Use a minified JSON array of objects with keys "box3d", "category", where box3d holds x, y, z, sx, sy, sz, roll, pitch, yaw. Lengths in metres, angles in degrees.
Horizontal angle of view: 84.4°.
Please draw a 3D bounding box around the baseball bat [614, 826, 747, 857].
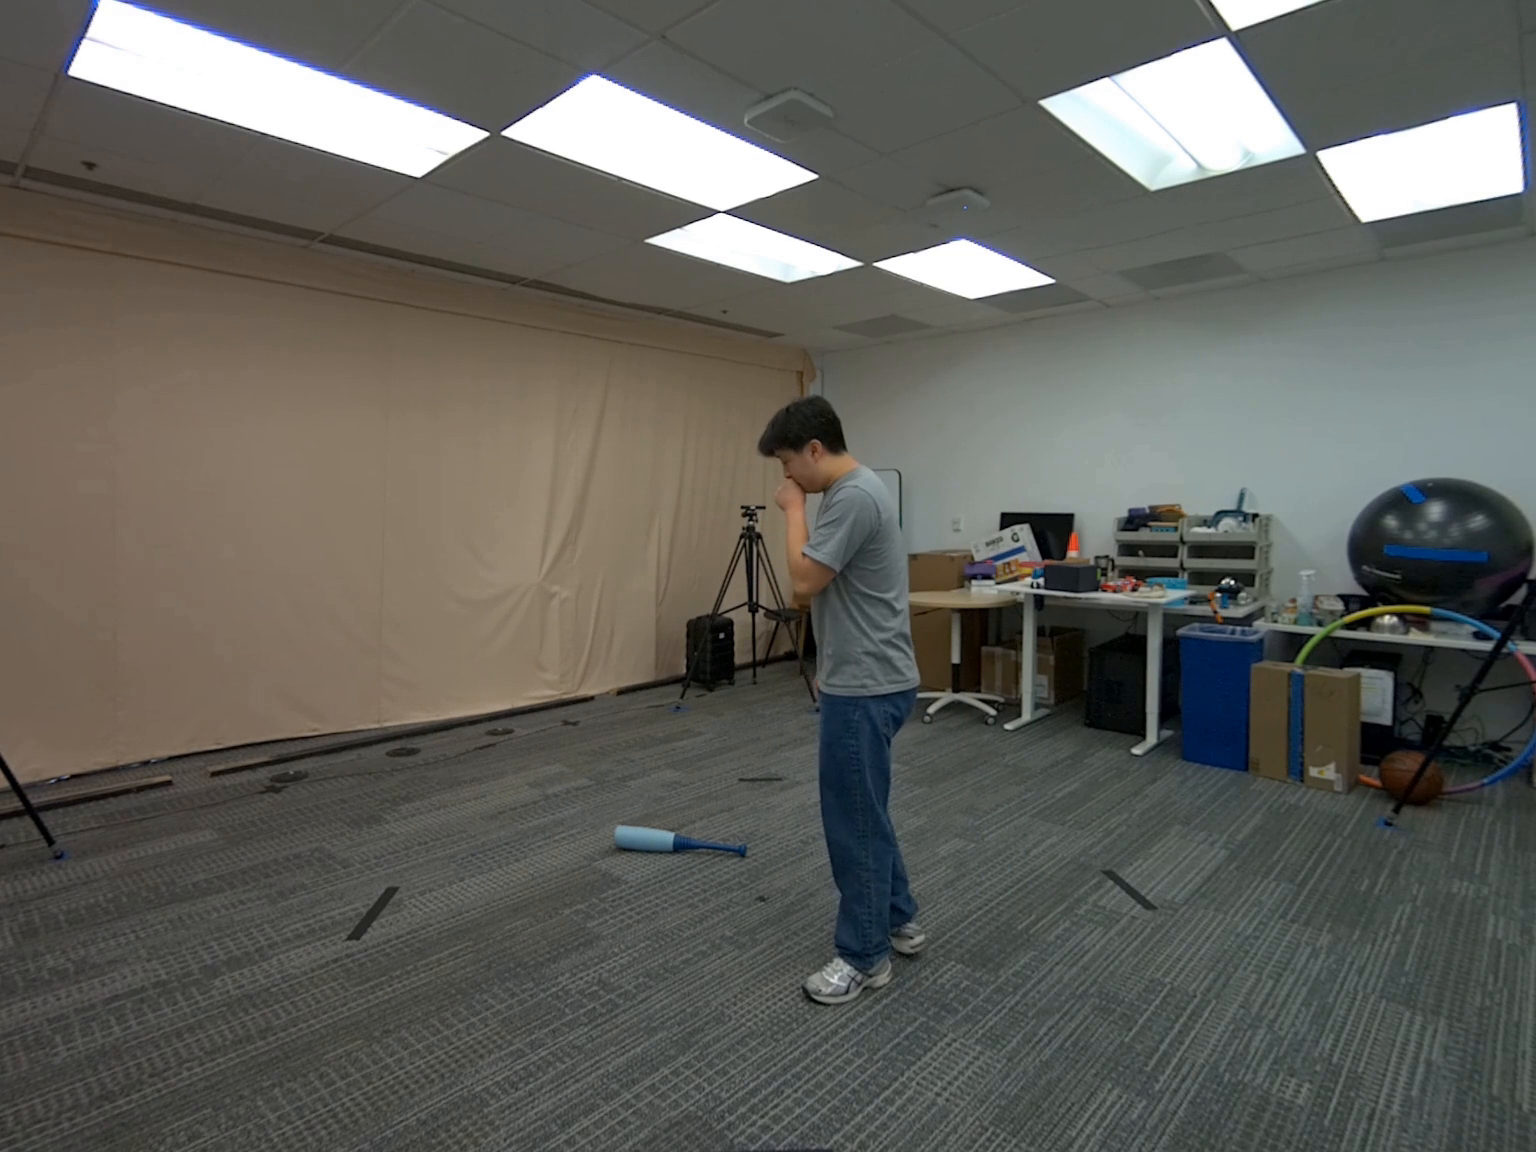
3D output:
[{"box3d":[-0.354,1.075,3.386,0.548,0.089,0.088,3,4,9],"category":"baseball bat"}]
